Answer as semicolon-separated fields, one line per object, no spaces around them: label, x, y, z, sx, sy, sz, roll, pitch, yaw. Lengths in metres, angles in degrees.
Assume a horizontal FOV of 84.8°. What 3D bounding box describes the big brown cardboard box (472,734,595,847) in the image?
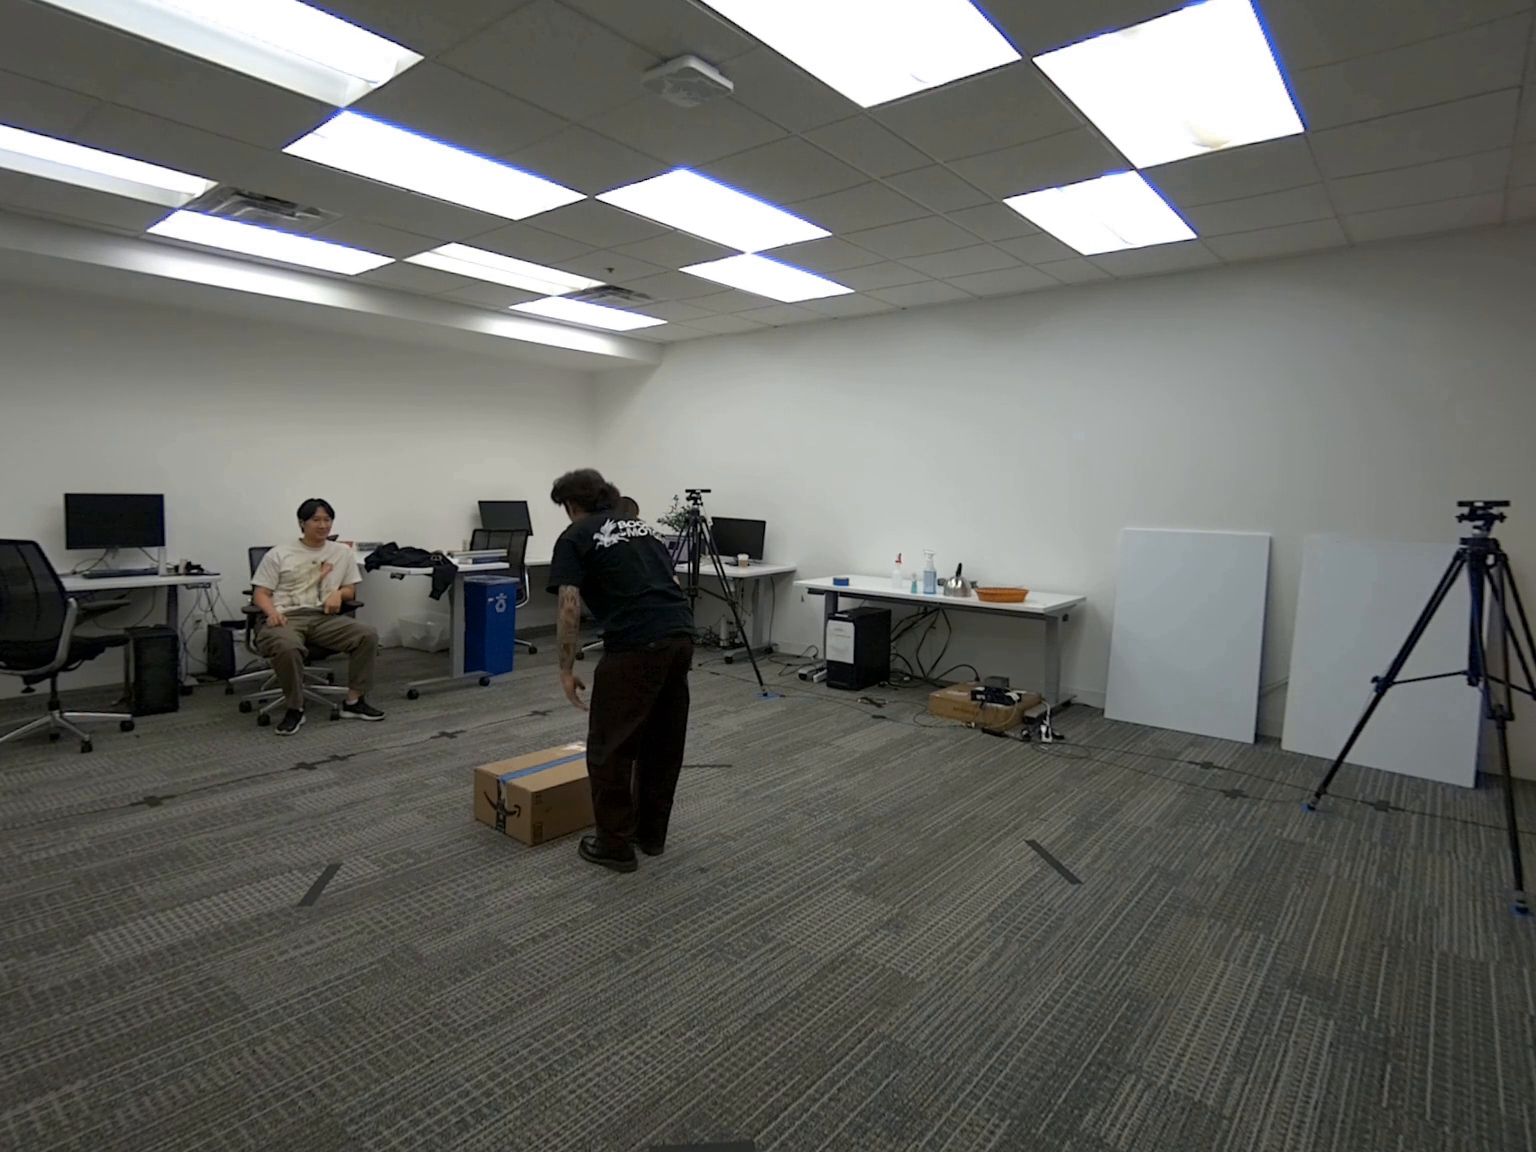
big brown cardboard box;-0.898;0.897;3.621;0.431;0.232;0.572;5;7;40
